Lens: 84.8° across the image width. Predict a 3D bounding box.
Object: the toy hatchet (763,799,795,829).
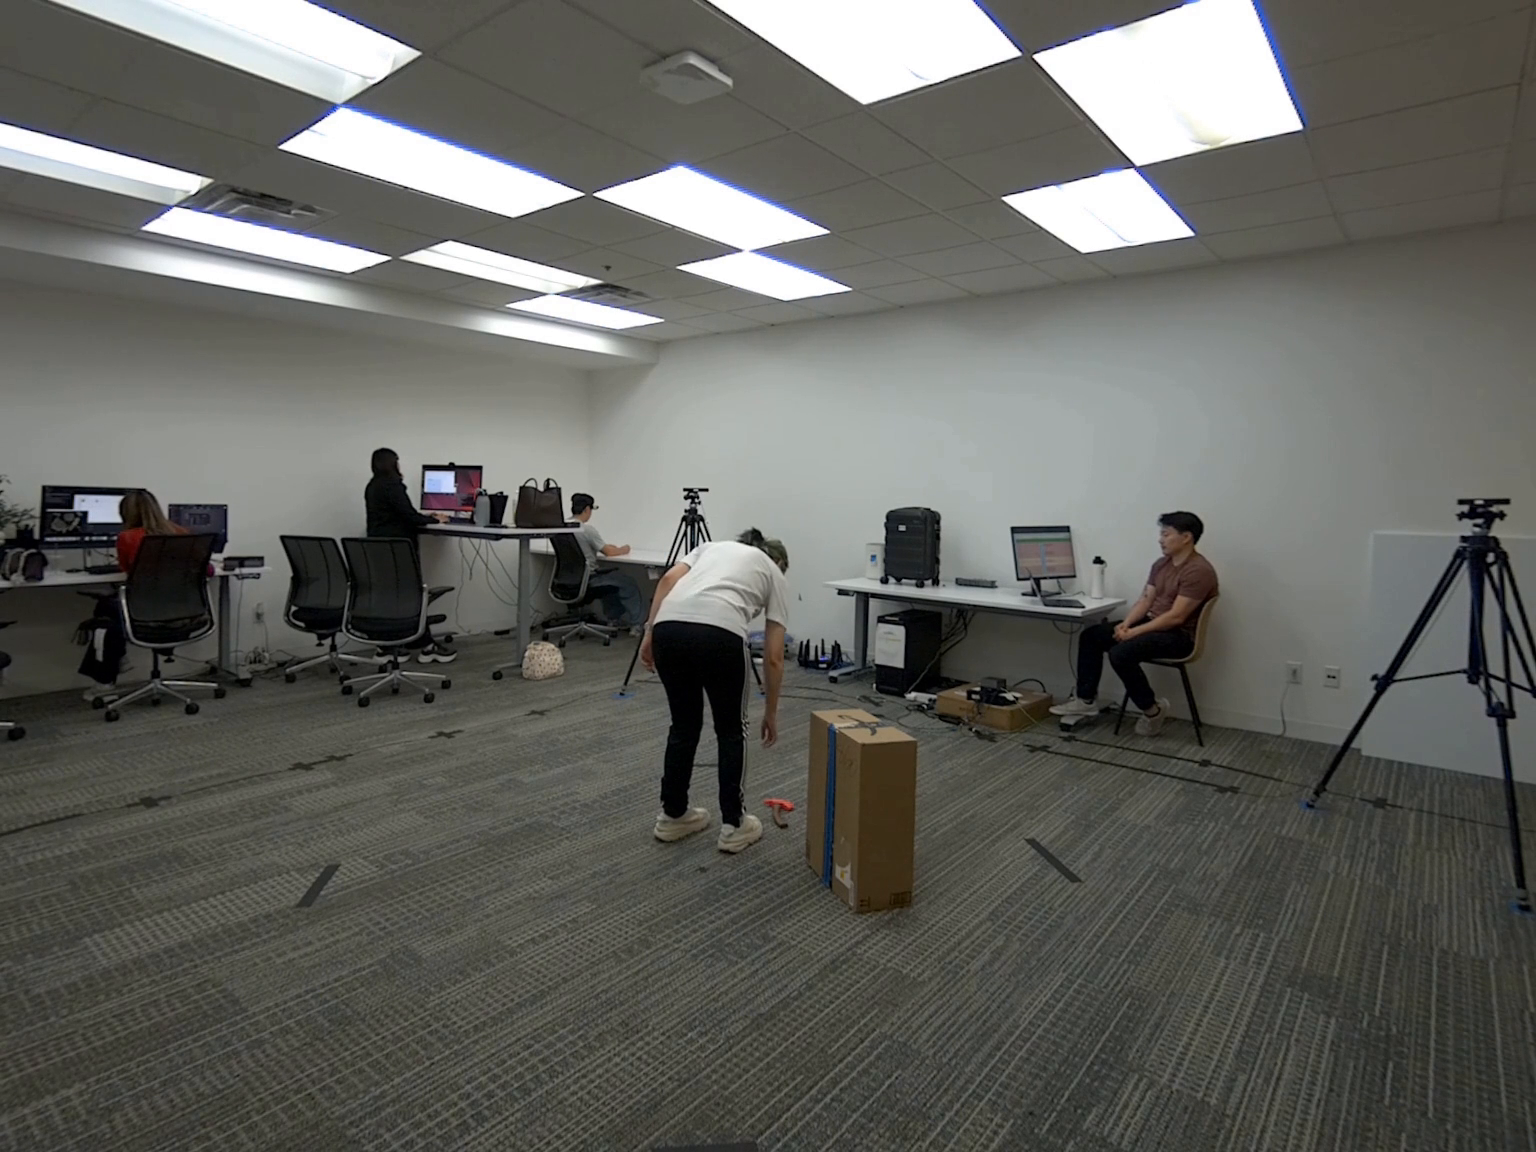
[{"bbox_3d":[0.064,1.014,3.642,0.129,0.029,0.275,3,7,-14],"label":"toy hatchet"}]
